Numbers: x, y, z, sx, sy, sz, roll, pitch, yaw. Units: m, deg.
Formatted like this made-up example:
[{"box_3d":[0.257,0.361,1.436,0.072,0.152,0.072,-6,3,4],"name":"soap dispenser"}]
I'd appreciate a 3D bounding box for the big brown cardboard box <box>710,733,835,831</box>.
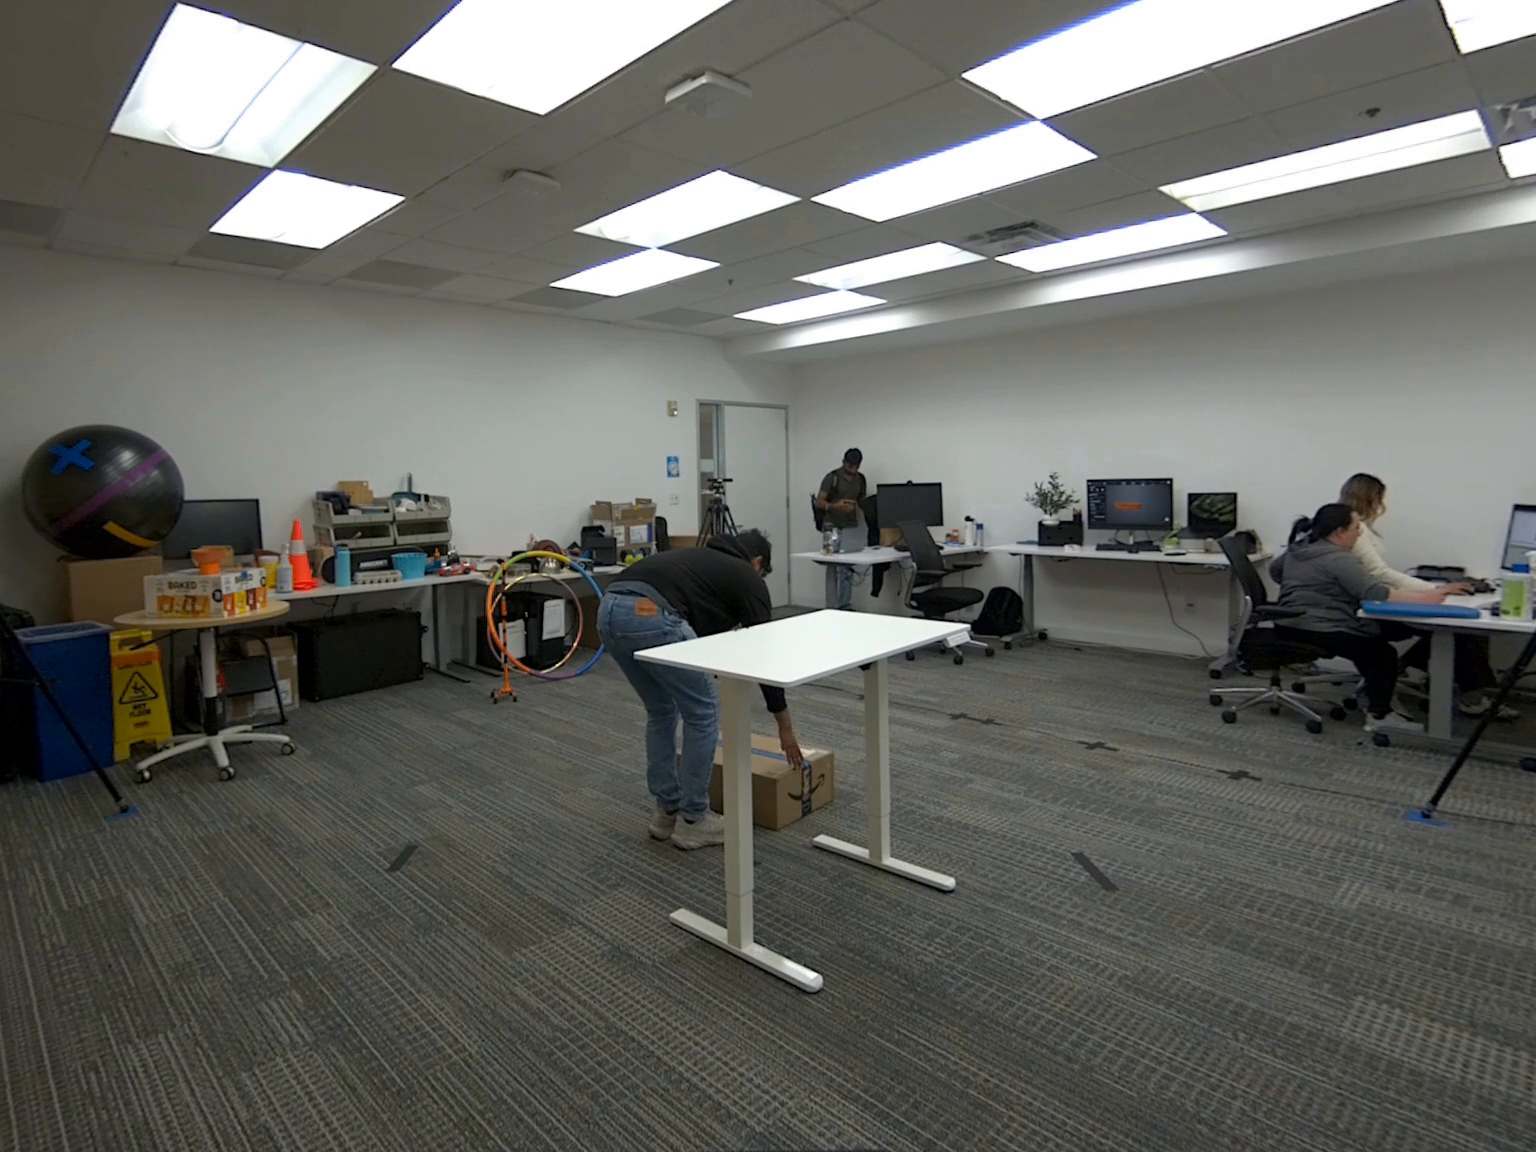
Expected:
[{"box_3d":[-0.058,0.862,3.708,0.606,0.232,0.407,3,7,38],"name":"big brown cardboard box"}]
